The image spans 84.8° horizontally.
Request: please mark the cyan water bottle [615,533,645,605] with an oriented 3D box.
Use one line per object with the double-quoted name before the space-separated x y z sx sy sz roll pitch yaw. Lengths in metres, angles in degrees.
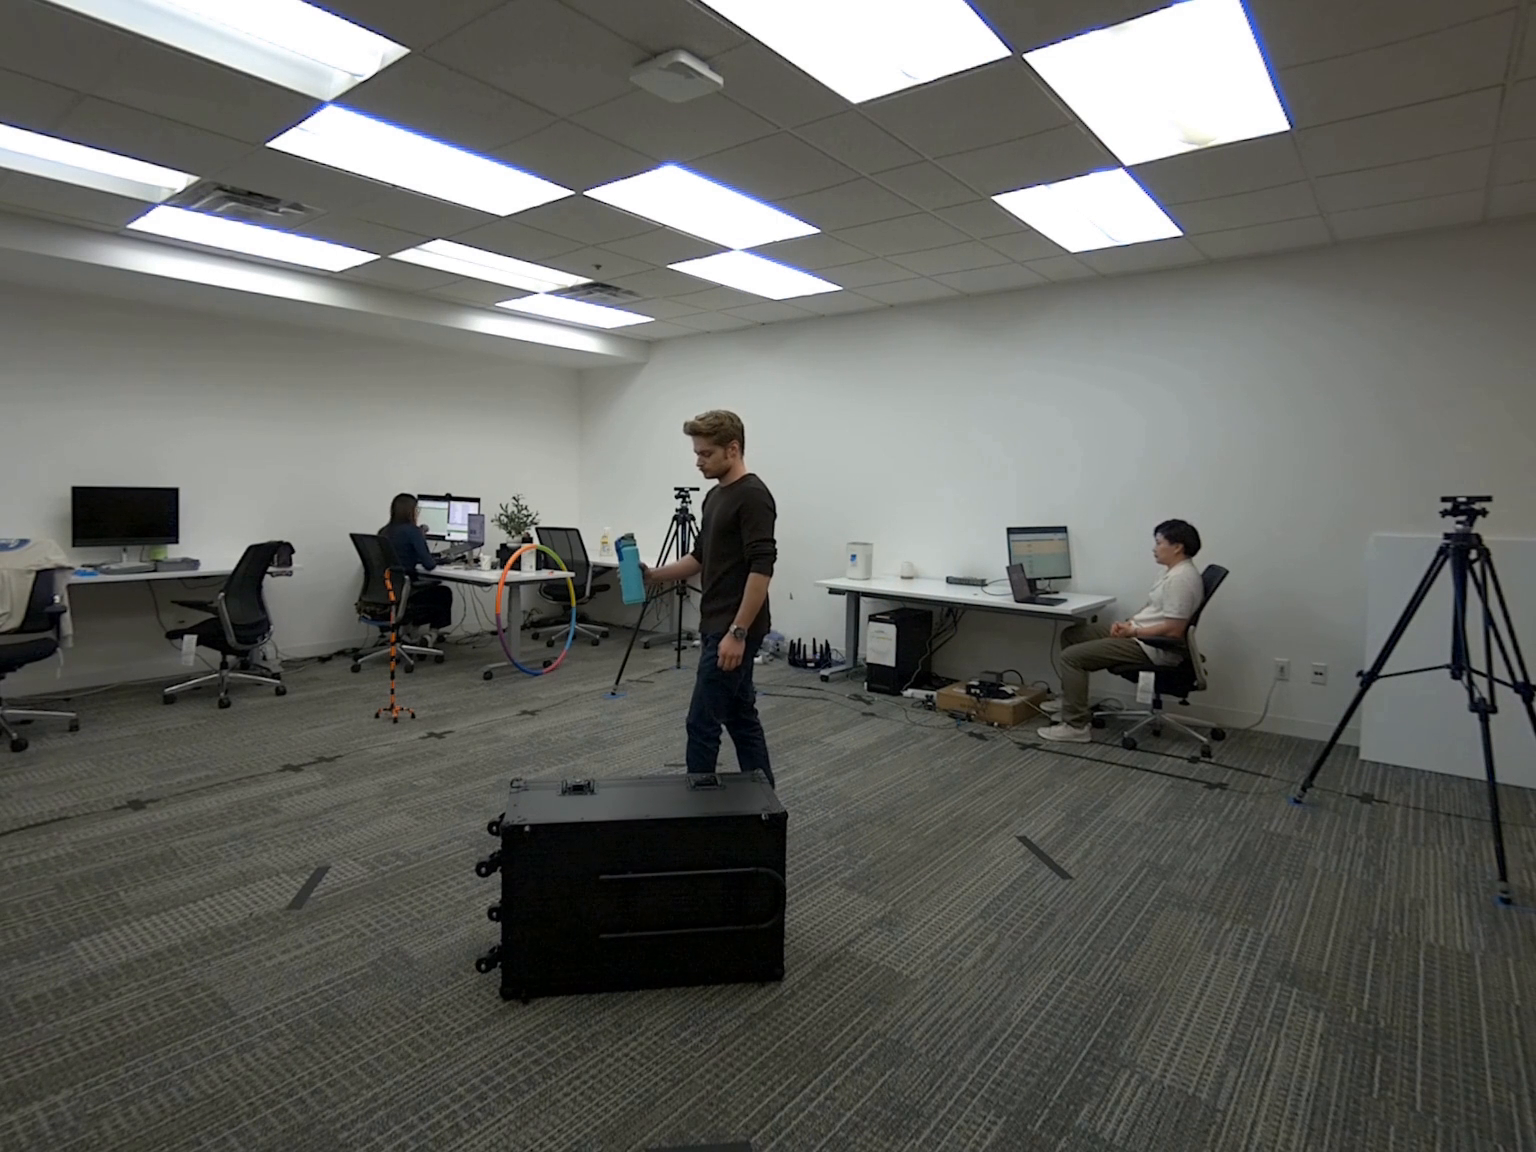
"cyan water bottle" -0.572 -0.037 3.445 0.092 0.283 0.092 -10 1 -1
